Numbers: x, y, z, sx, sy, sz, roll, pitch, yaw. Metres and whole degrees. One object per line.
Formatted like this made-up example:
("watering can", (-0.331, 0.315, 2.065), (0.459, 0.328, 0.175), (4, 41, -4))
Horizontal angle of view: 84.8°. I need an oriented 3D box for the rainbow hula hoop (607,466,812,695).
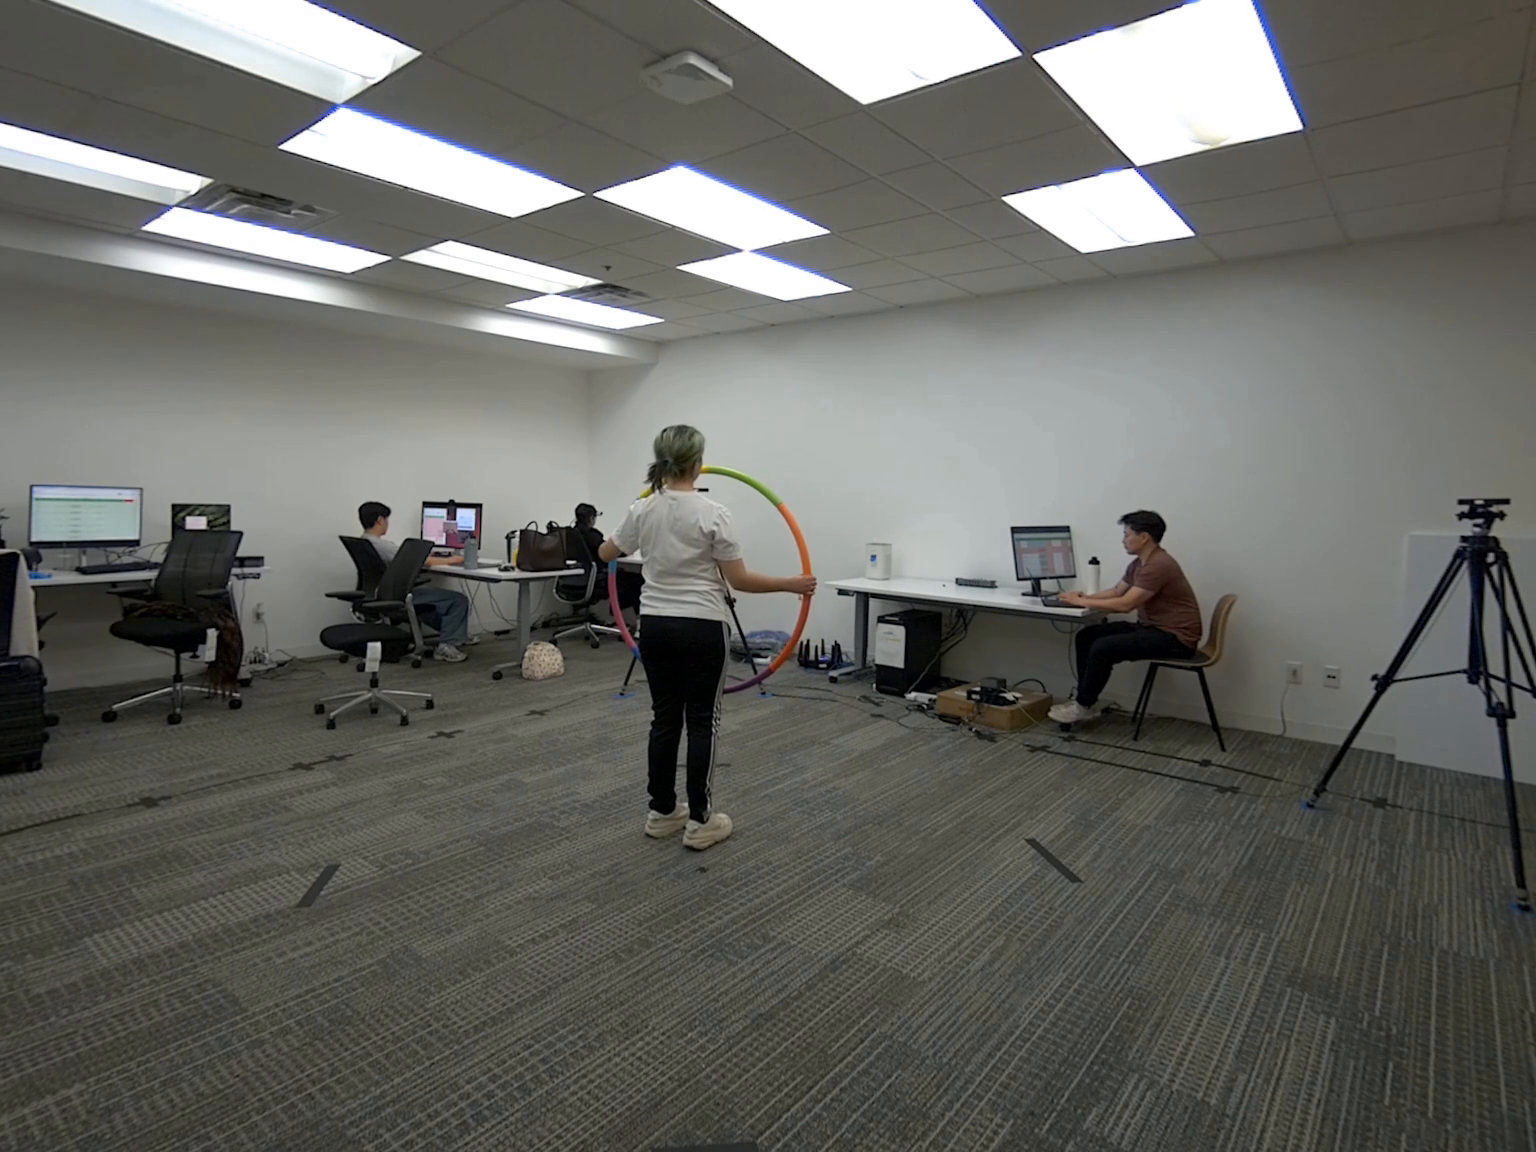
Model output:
("rainbow hula hoop", (-0.285, 0.013, 3.680), (1.005, 0.978, 0.034), (3, 1, 27))
